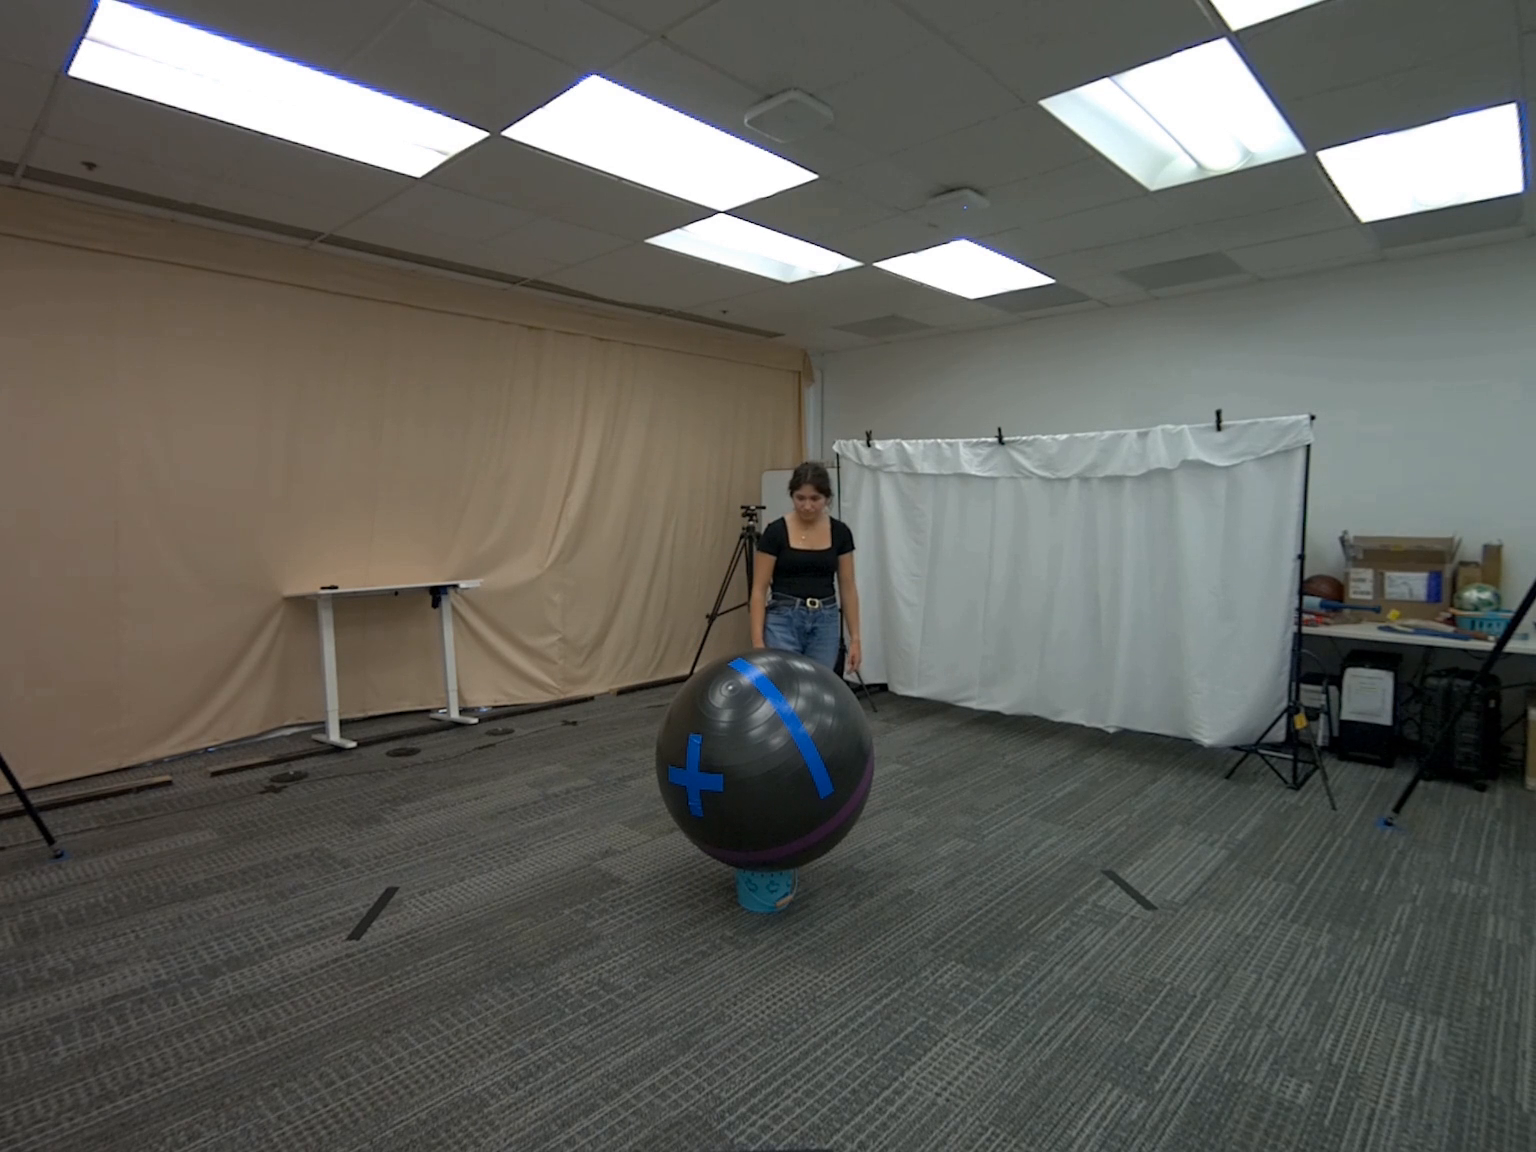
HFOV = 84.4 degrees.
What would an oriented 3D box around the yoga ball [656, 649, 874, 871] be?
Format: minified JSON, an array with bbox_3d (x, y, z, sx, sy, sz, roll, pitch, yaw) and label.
[{"bbox_3d":[-0.009,0.636,2.947,0.757,0.756,0.760,0,4,-2],"label":"yoga ball"}]
